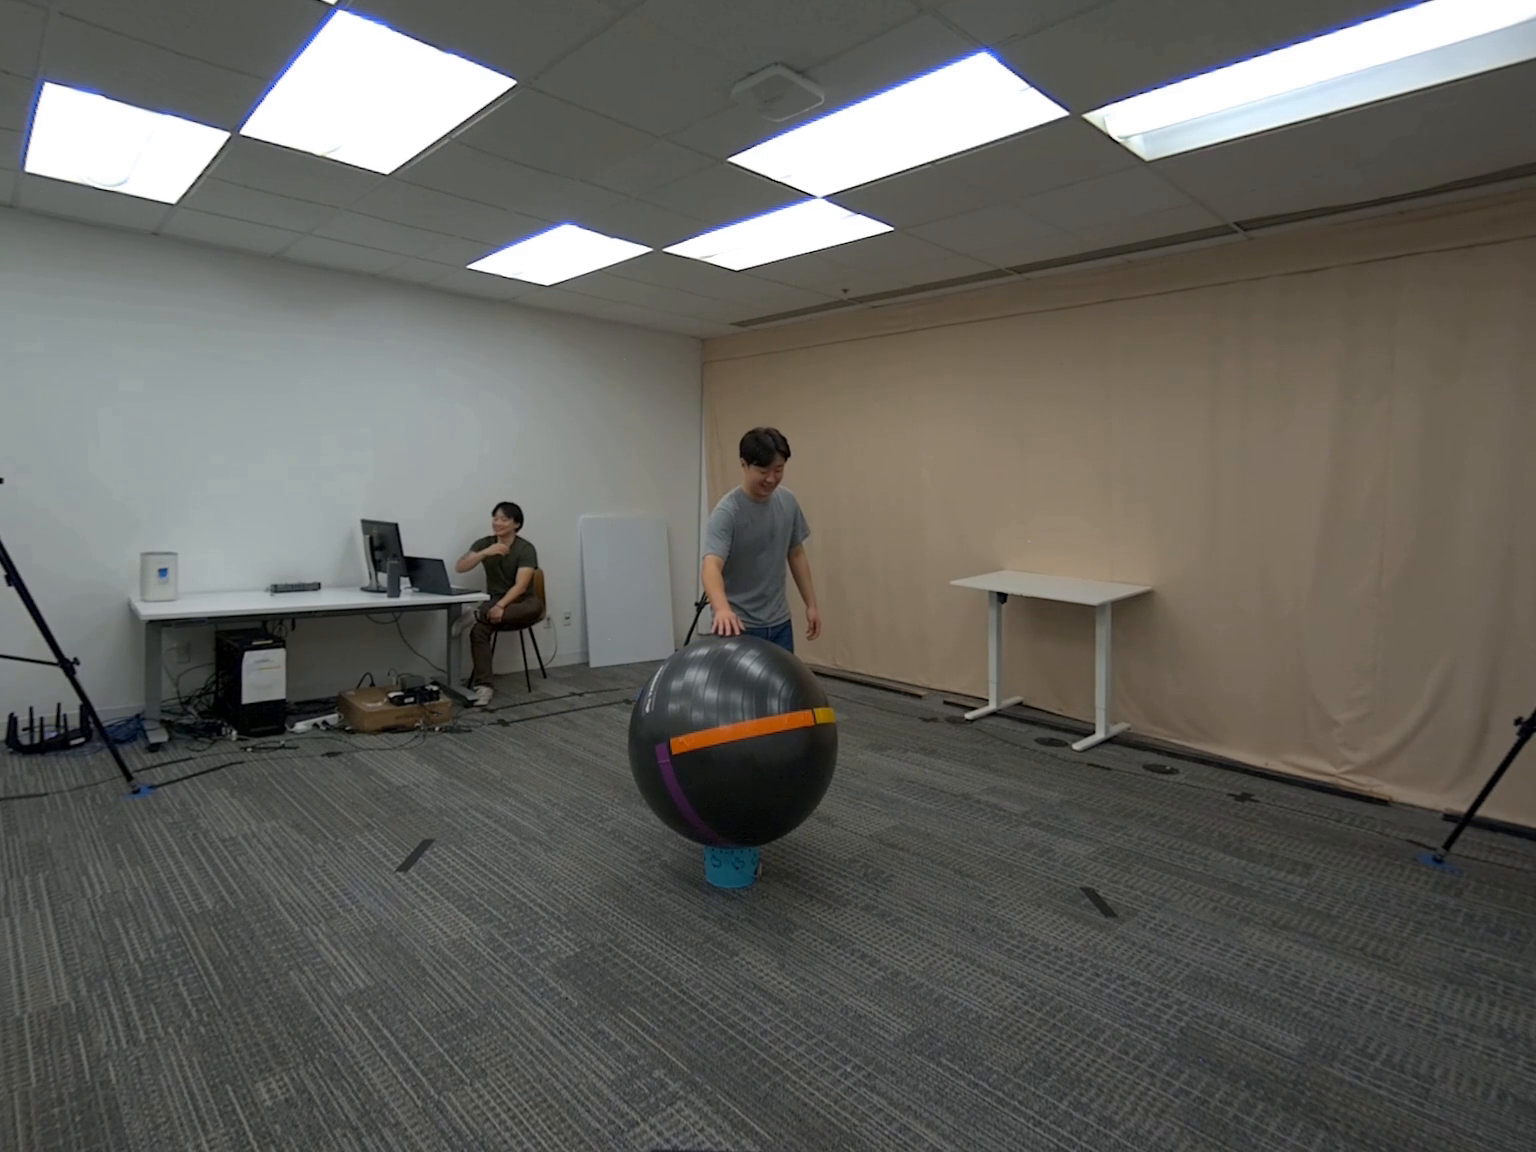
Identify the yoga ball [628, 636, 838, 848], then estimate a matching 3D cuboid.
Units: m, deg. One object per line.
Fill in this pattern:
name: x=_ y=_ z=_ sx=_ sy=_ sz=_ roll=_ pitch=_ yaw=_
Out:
yoga ball: x=-0.135 y=0.601 z=3.059 sx=0.757 sy=0.756 sz=0.761 roll=1 pitch=4 yaw=-1
